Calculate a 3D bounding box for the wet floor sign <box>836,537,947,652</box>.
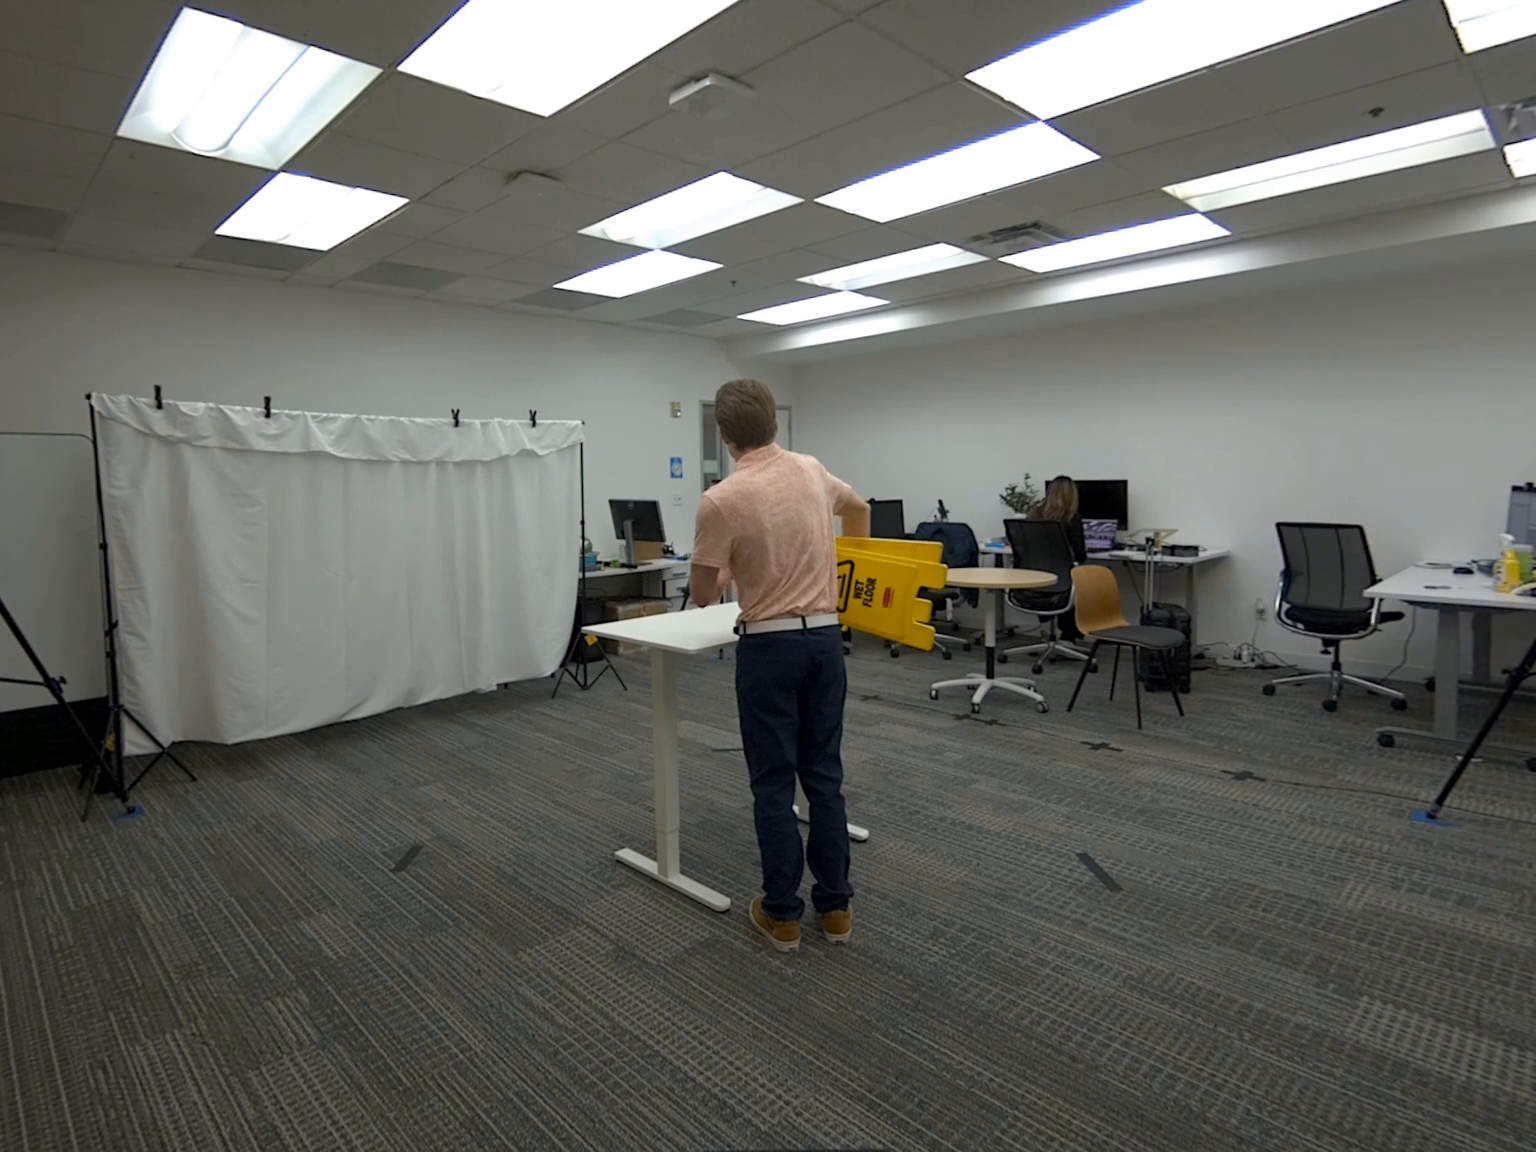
[{"bbox_3d":[0.235,0.014,2.796,0.654,0.279,0.290,12,17,10],"label":"wet floor sign"}]
